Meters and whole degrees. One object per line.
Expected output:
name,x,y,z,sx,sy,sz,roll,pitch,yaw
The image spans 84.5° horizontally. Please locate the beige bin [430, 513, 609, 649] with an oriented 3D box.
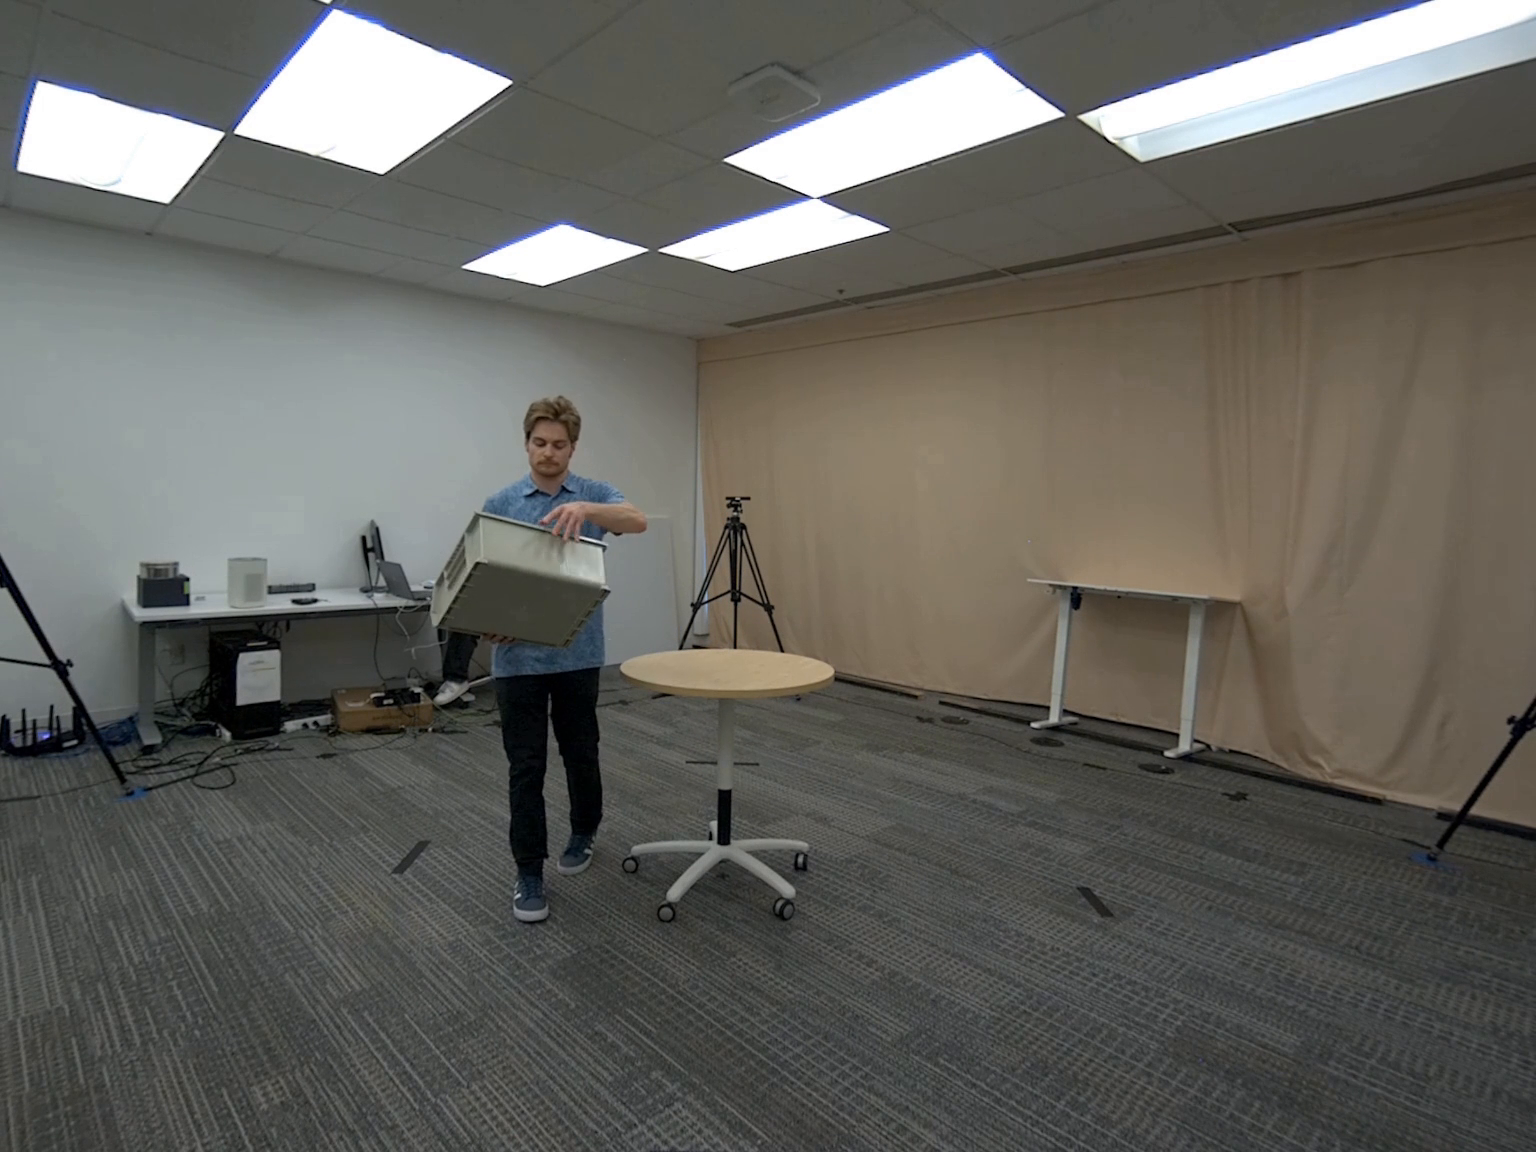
beige bin,-0.751,0.041,2.530,0.411,0.194,0.377,16,-47,-34
